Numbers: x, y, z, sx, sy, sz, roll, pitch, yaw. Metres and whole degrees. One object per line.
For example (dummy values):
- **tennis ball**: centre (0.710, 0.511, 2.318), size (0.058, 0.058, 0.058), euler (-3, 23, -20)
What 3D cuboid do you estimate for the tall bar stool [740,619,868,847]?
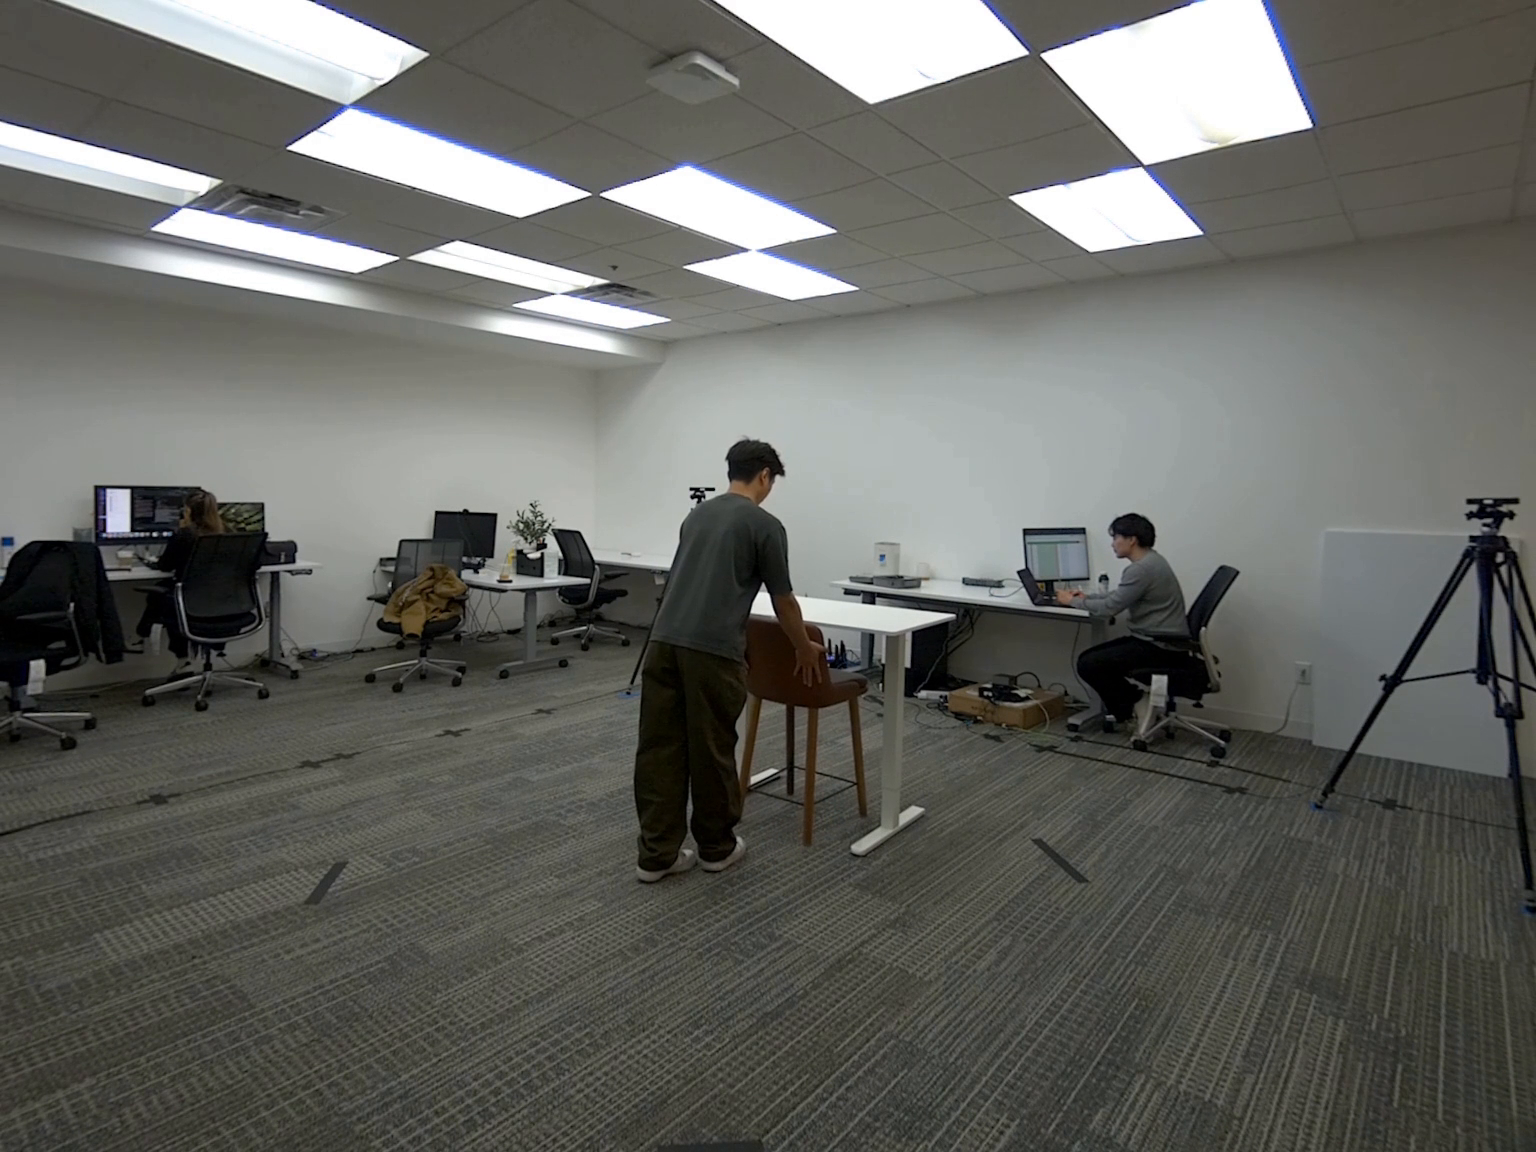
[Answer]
- **tall bar stool**: centre (0.129, 0.590, 3.584), size (0.471, 0.885, 0.455), euler (4, 6, 37)
